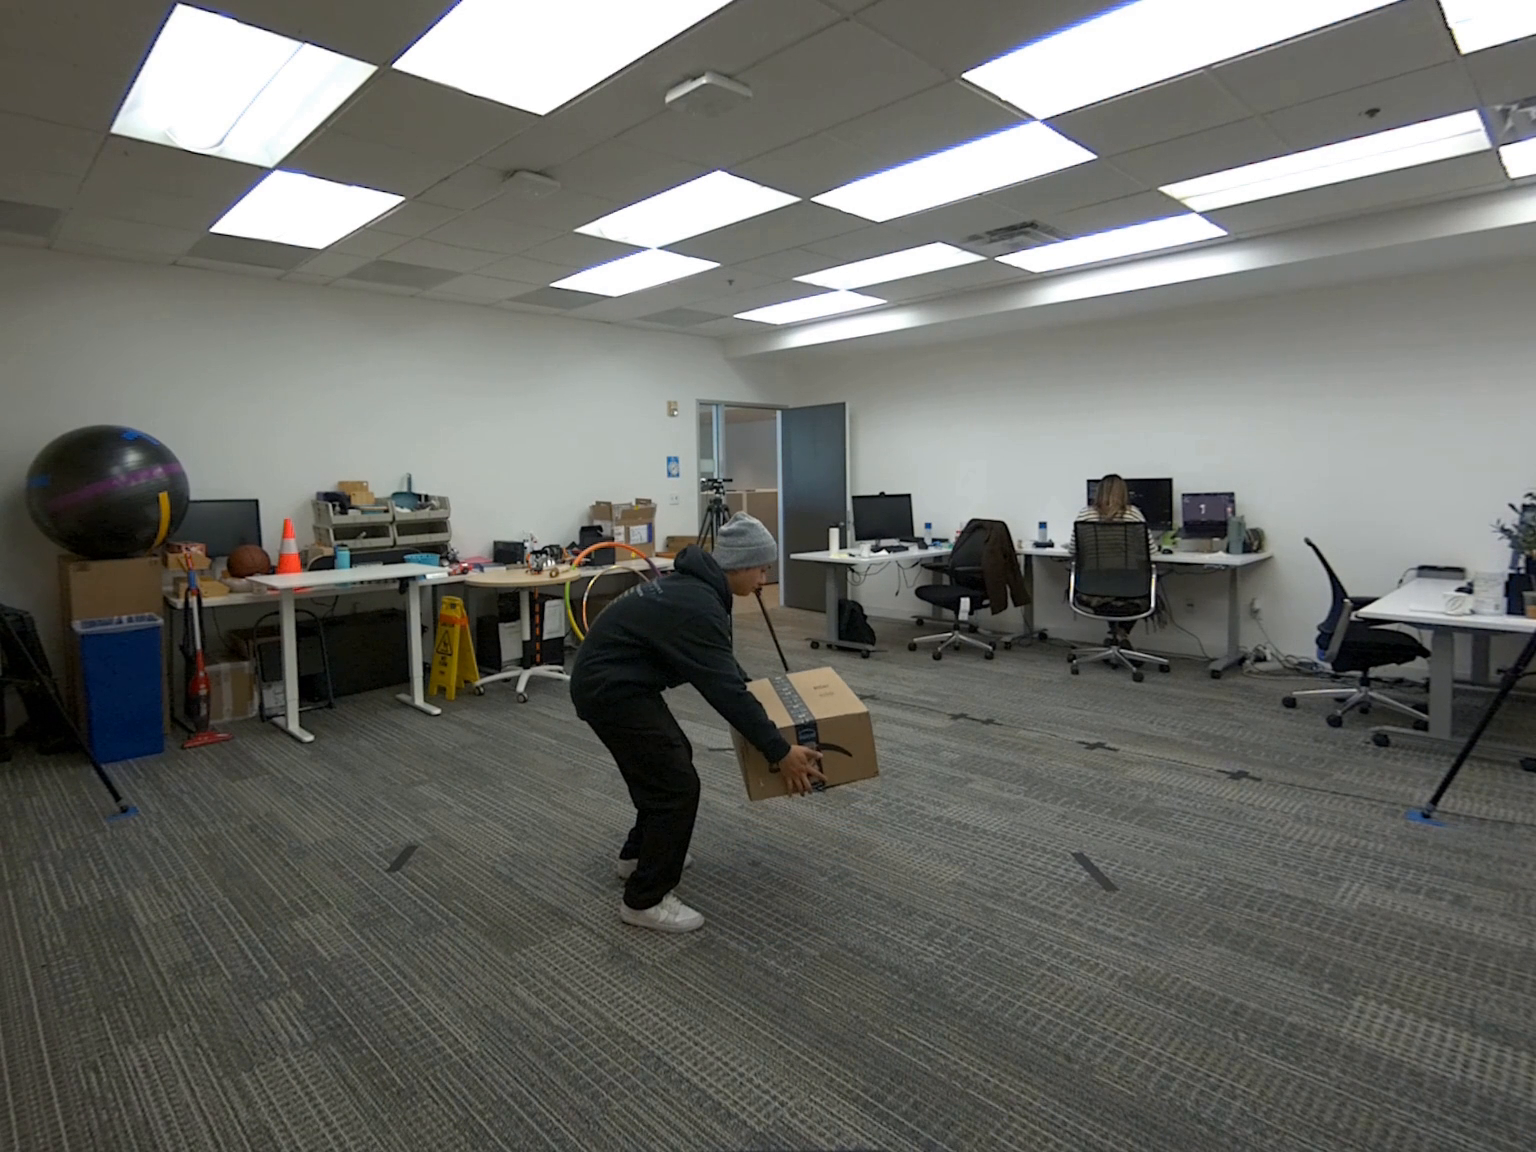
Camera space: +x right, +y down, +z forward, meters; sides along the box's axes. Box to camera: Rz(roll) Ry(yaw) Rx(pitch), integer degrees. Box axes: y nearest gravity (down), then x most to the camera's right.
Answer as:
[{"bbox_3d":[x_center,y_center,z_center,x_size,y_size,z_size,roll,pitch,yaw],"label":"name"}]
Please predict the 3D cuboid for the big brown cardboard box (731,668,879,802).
[{"bbox_3d":[0.091,0.521,2.922,0.416,0.231,0.596,-11,10,-5],"label":"big brown cardboard box"}]
